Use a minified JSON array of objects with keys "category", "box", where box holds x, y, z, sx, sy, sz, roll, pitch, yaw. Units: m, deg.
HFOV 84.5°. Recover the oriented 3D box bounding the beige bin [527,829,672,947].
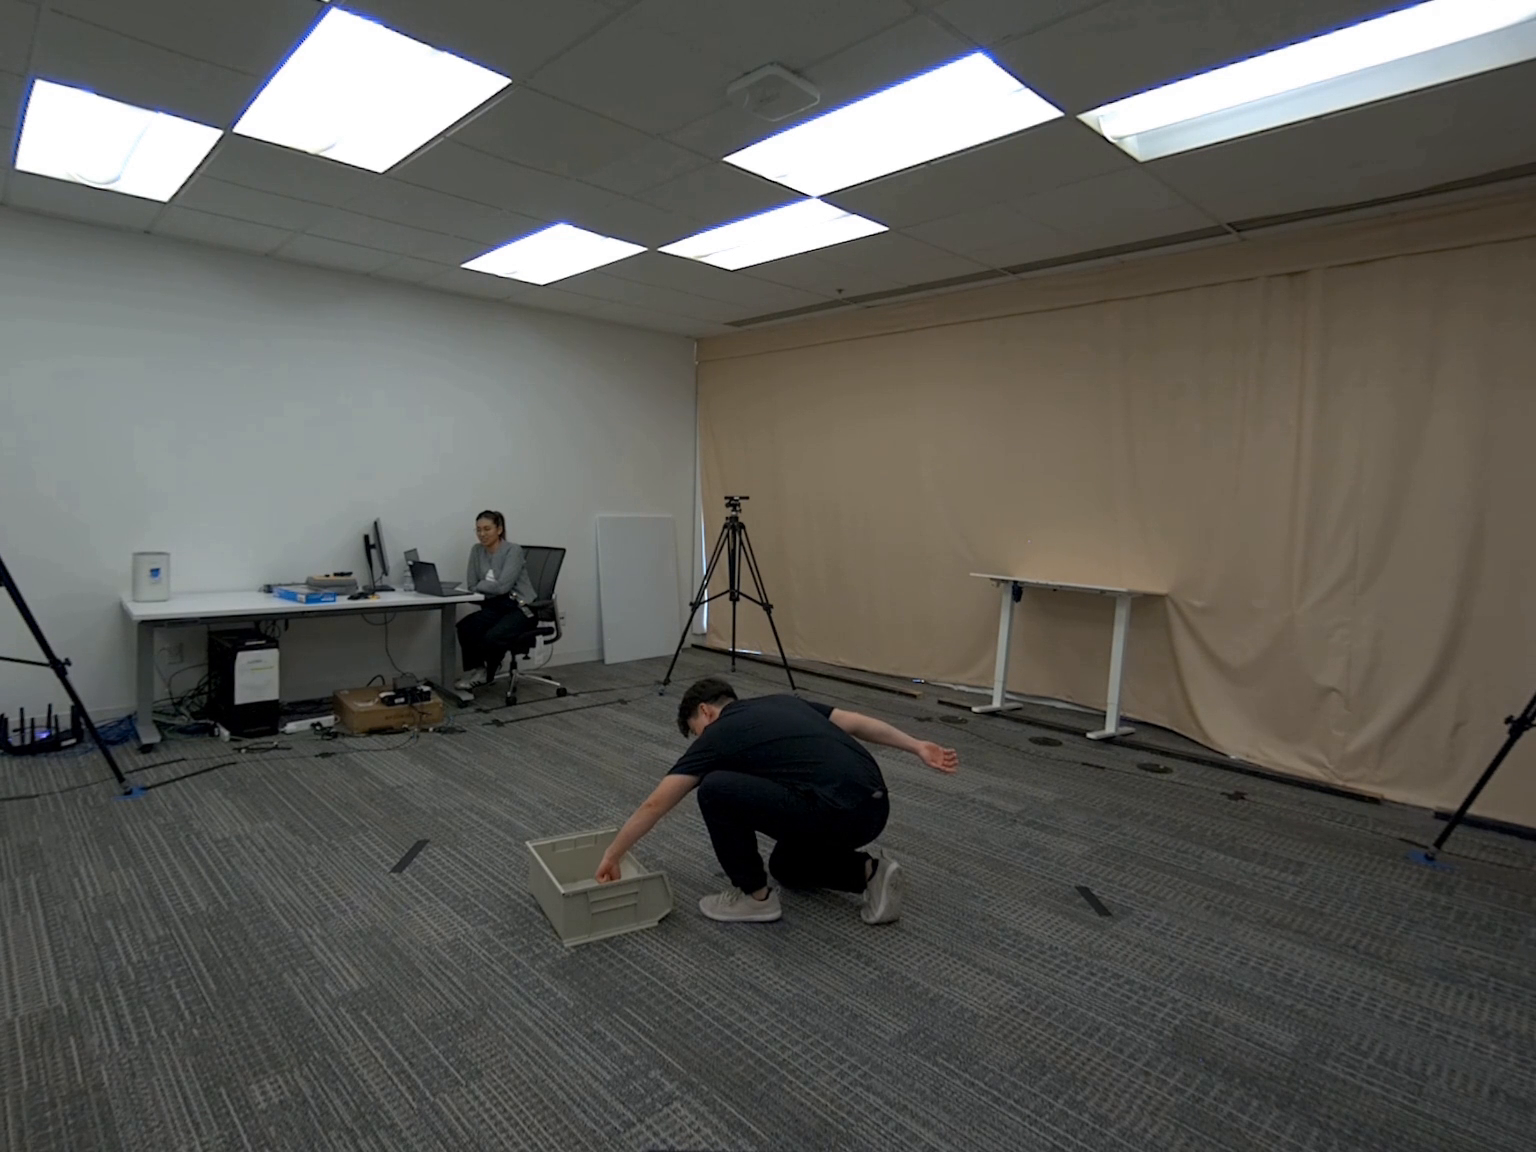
[{"category":"beige bin","box":[-0.575,1.024,2.841,0.370,0.188,0.432,-2,7,-30]}]
